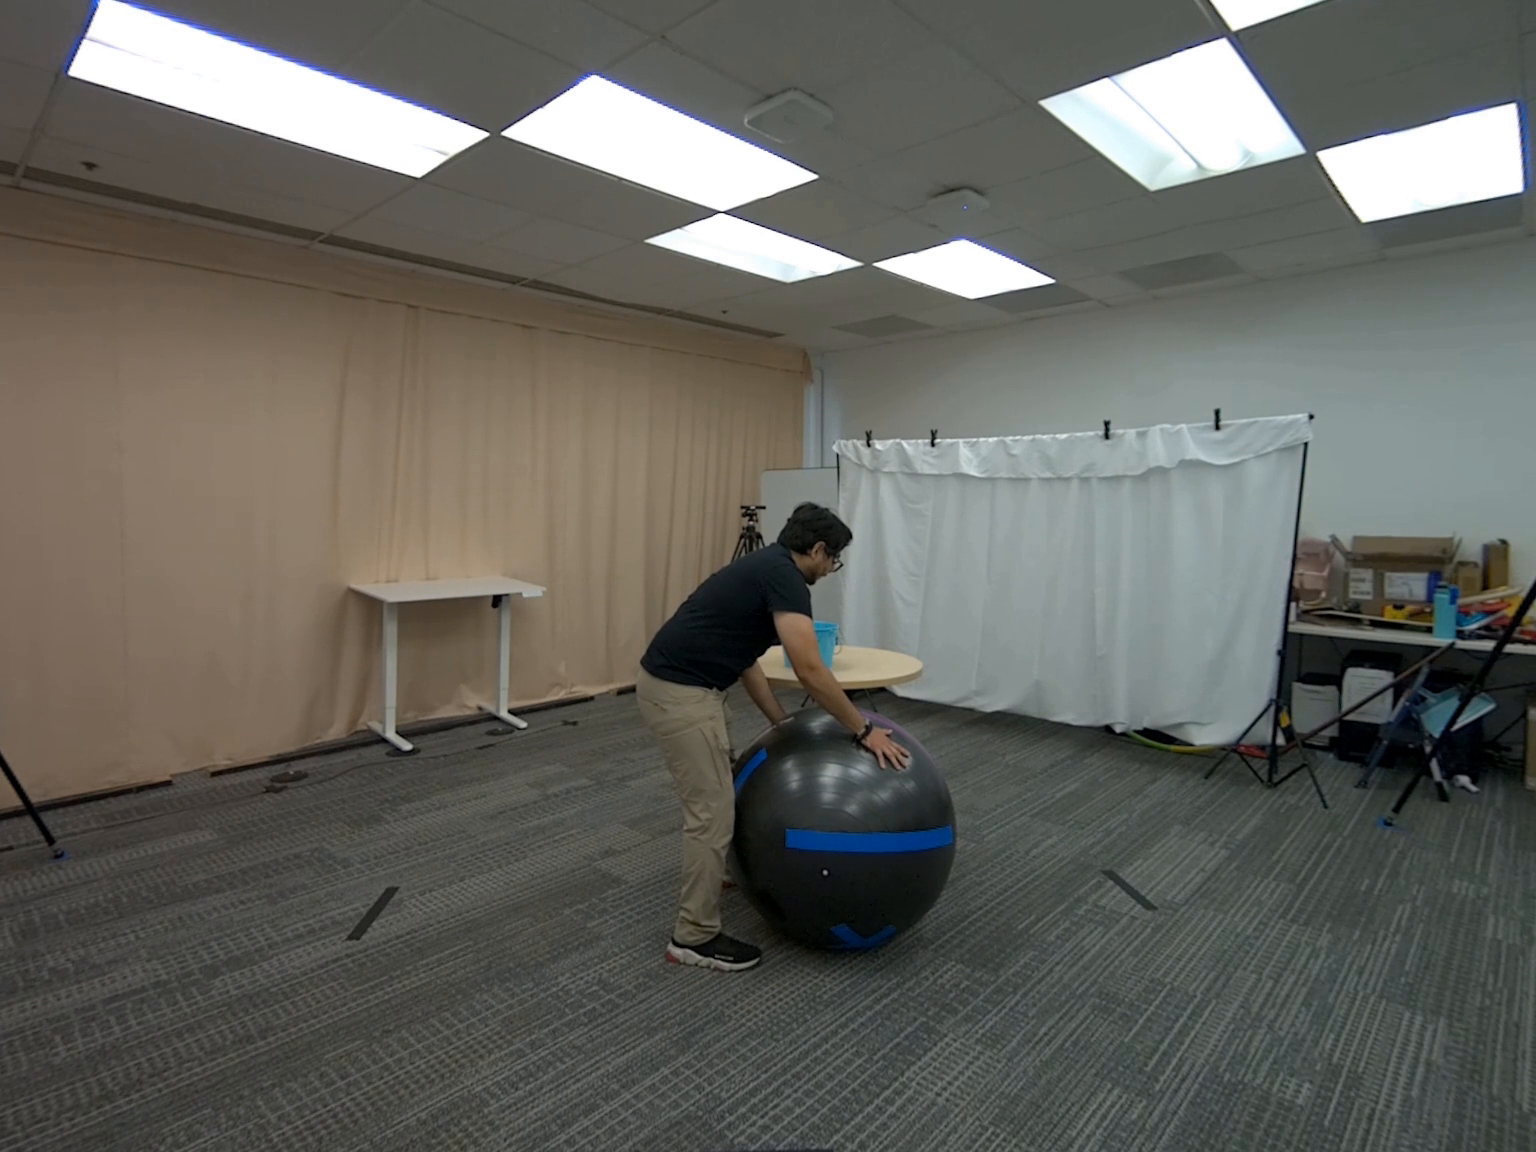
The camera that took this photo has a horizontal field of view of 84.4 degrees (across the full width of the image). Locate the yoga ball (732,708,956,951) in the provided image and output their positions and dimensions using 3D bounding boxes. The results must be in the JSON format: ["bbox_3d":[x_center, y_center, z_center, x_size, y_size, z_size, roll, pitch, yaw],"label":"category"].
[{"bbox_3d":[0.240,0.820,2.769,0.757,0.756,0.760,0,4,-2],"label":"yoga ball"}]
